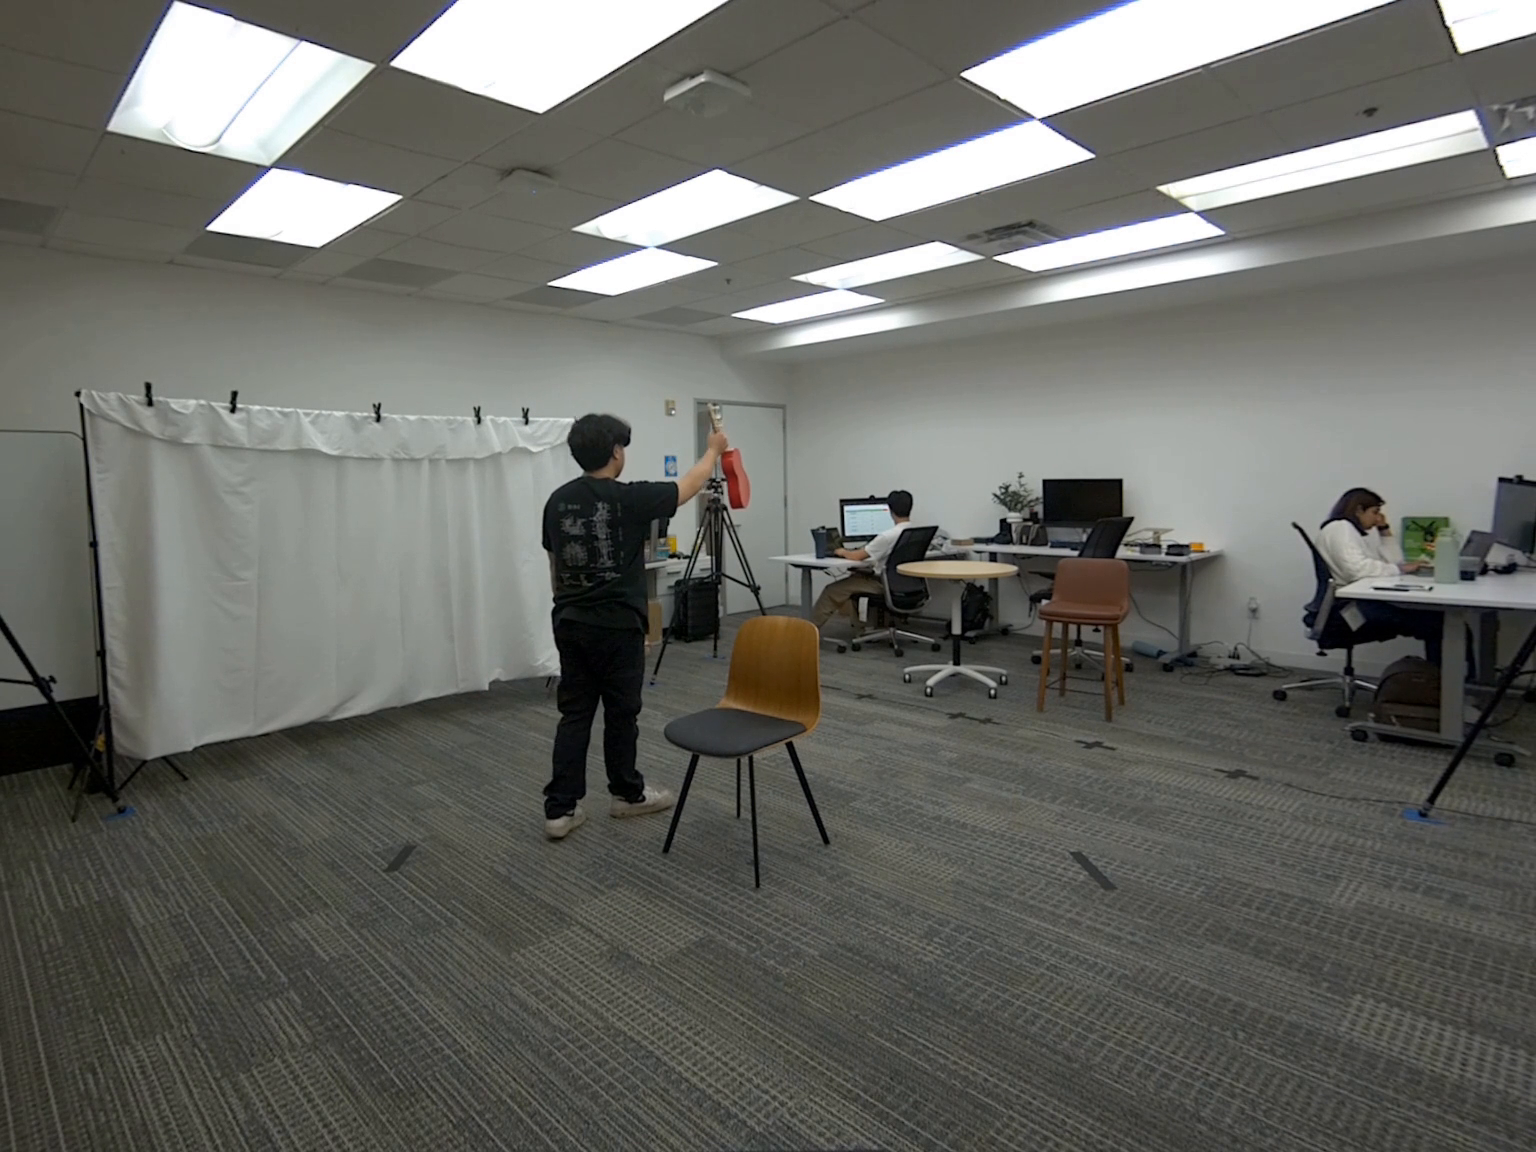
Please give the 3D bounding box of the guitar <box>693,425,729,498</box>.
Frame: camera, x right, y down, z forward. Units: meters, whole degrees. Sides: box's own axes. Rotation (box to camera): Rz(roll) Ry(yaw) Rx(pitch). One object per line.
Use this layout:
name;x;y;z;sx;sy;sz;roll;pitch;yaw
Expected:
guitar;-0.171;-0.515;3.756;0.071;0.481;0.197;-7;40;14
